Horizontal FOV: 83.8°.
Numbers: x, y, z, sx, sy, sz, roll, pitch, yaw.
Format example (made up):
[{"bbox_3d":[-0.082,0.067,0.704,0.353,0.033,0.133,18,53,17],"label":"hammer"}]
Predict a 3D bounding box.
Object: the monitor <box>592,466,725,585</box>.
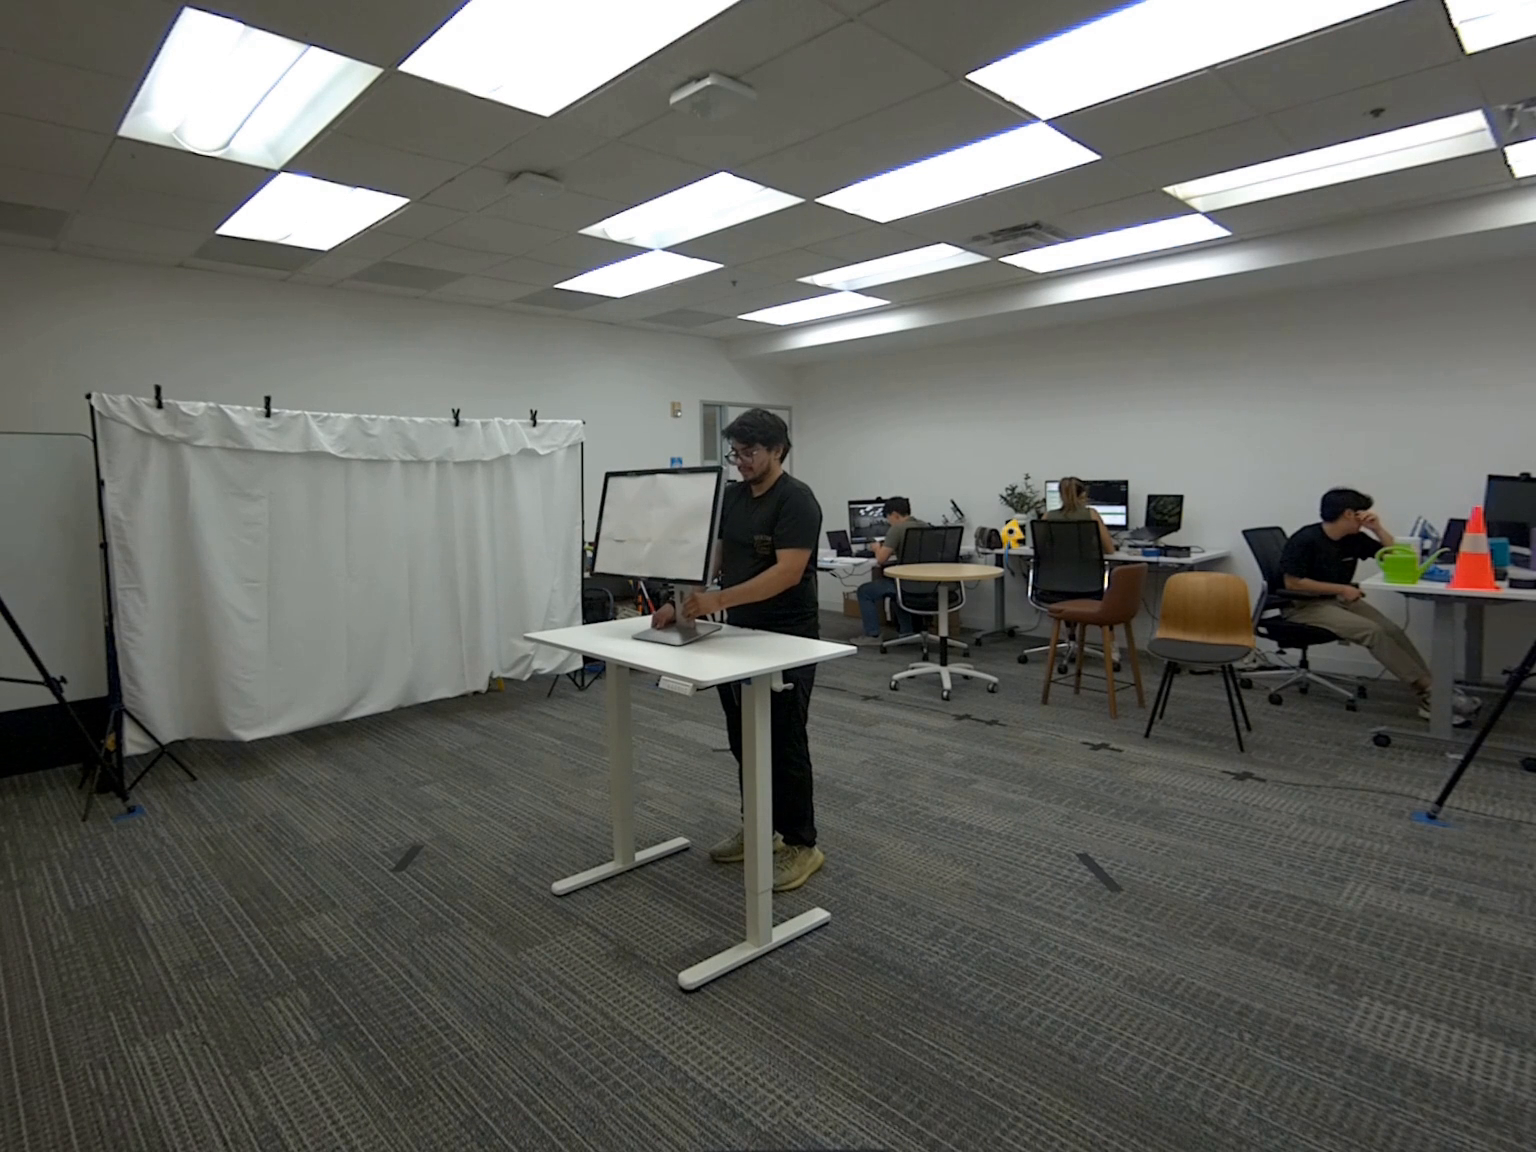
[{"bbox_3d":[-0.312,-0.073,2.778,0.582,0.554,0.204,2,1,42],"label":"monitor"}]
